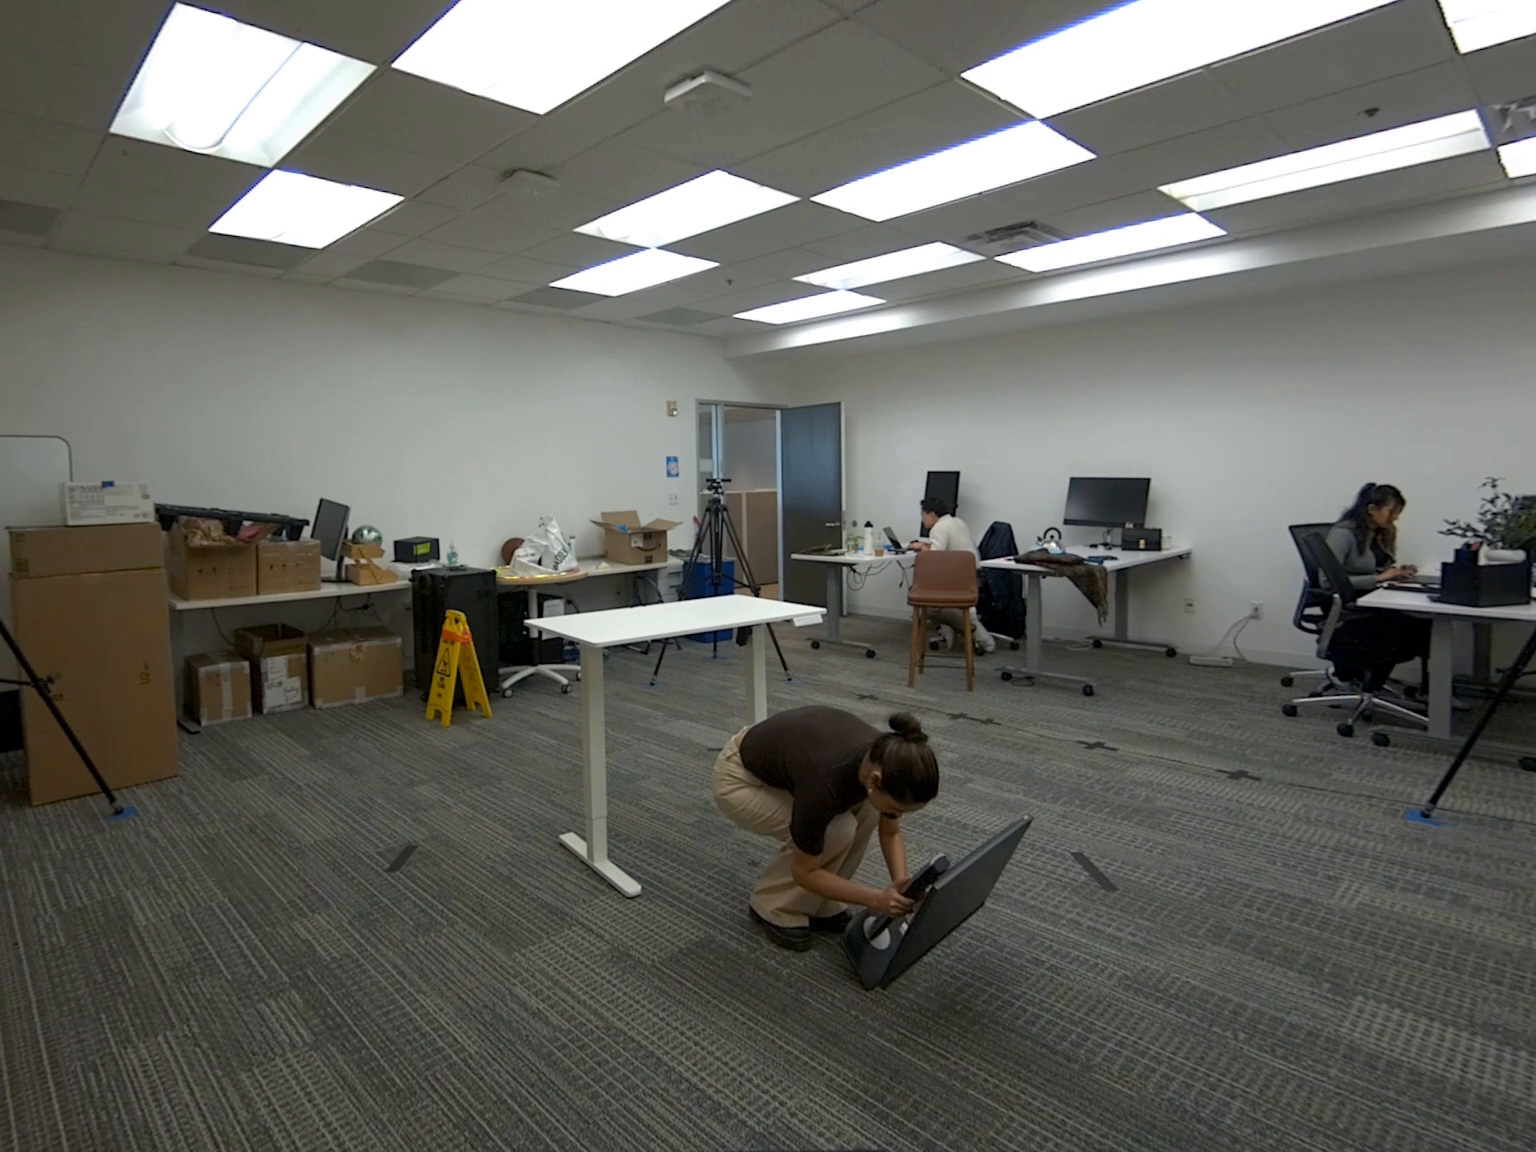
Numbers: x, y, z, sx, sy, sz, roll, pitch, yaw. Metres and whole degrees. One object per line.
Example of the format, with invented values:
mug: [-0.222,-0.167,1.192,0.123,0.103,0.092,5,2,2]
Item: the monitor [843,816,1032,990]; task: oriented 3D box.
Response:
monitor: [0.440,0.880,2.311,0.526,0.519,0.193,-12,54,-48]
